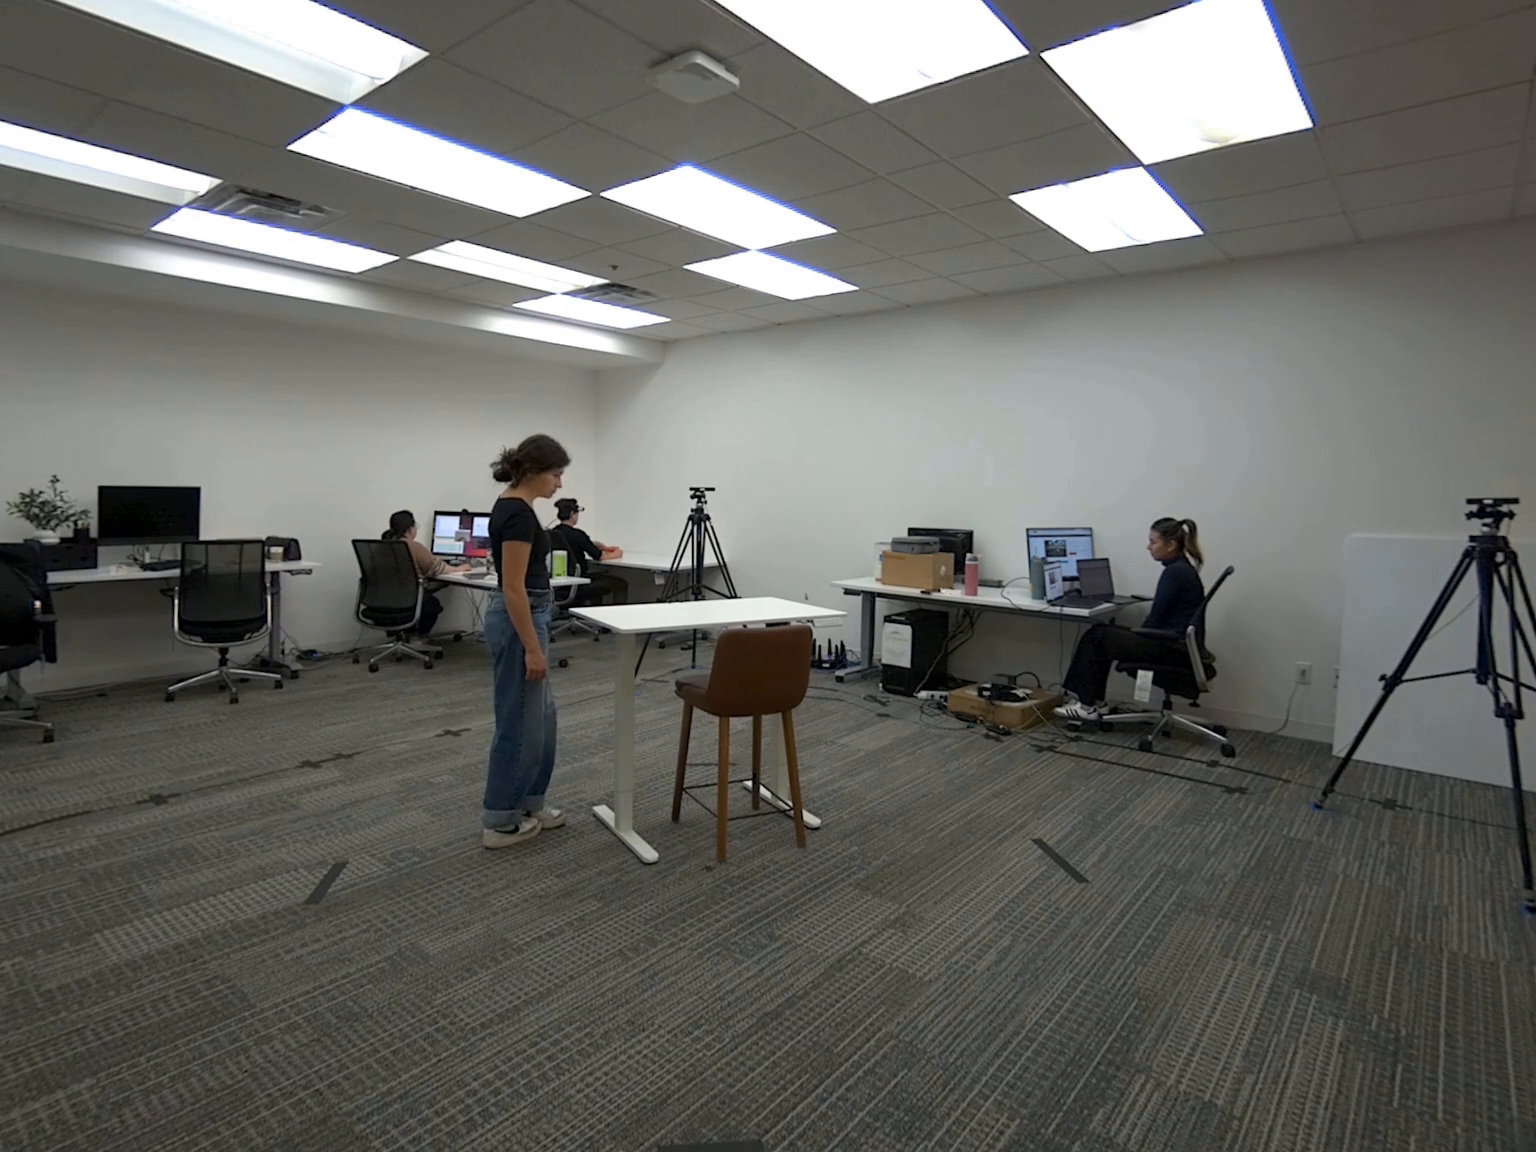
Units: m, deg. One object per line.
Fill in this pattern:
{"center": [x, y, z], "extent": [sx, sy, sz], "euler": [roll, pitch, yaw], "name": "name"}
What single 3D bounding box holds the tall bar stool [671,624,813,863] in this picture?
{"center": [-0.123, 0.613, 3.410], "extent": [0.445, 0.886, 0.481], "euler": [-1, 5, -27], "name": "tall bar stool"}
